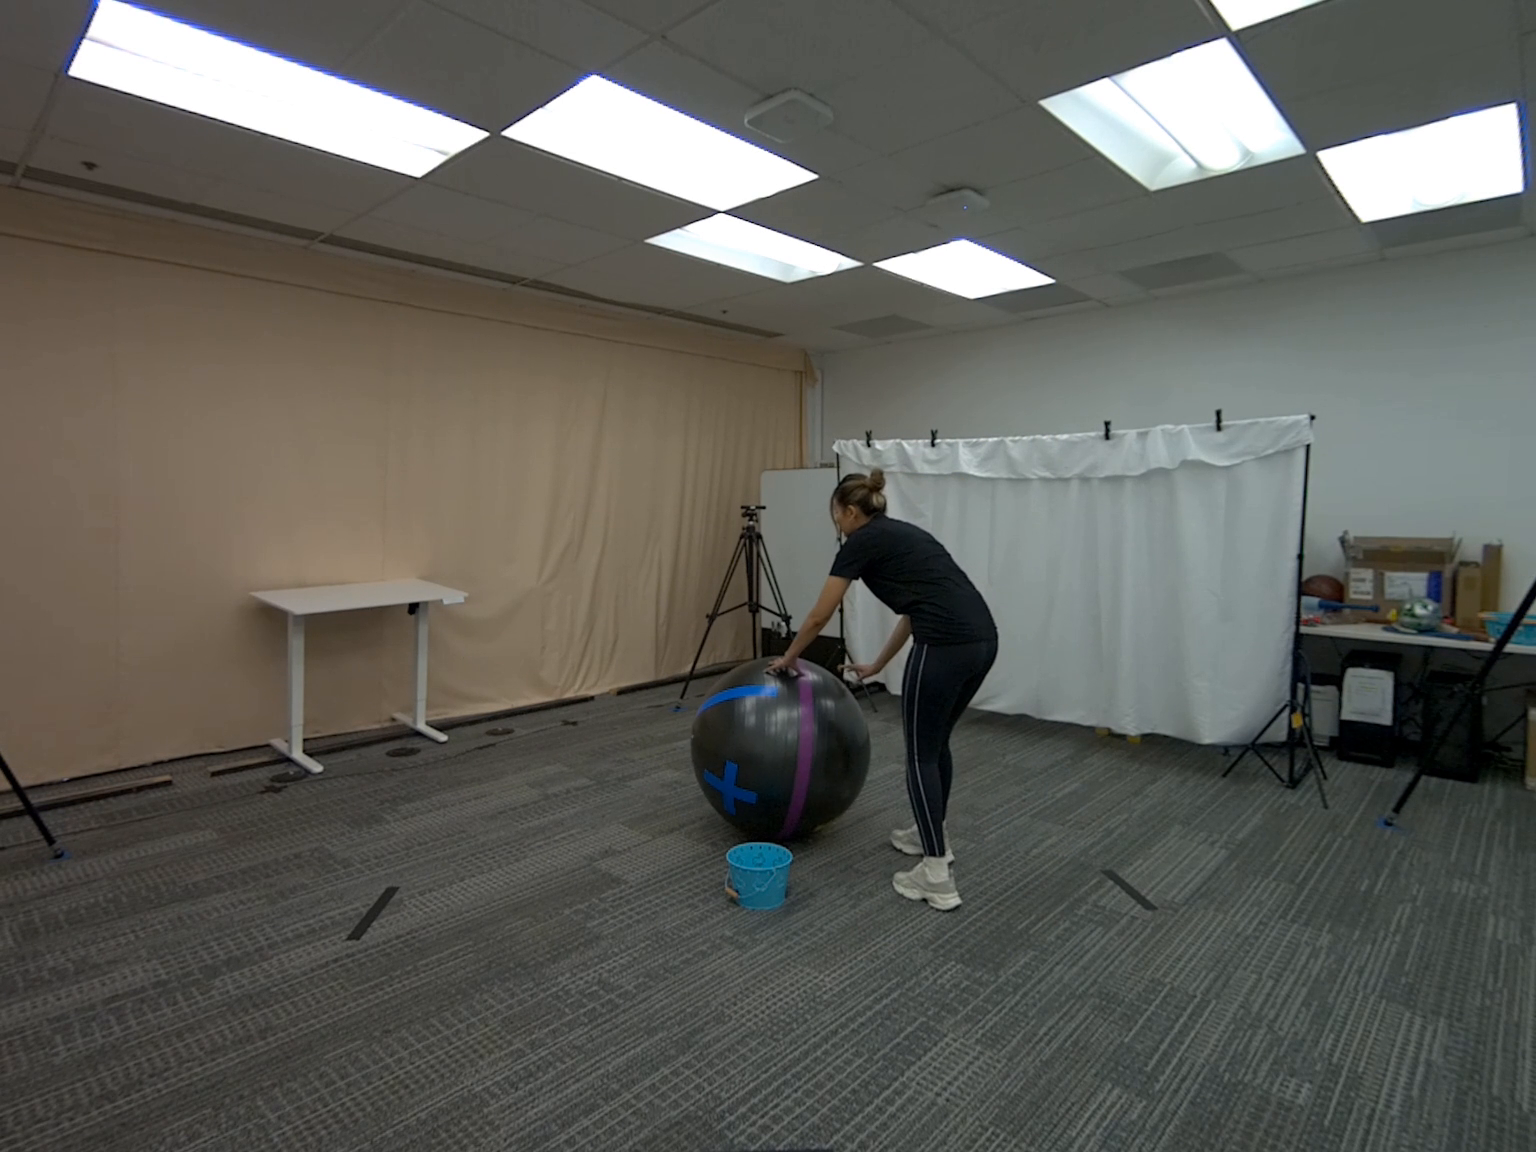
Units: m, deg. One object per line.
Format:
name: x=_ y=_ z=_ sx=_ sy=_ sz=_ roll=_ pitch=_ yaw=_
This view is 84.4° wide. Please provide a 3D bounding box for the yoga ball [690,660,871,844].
yoga ball: x=0.056 y=0.720 z=3.578 sx=0.757 sy=0.756 sz=0.760 roll=0 pitch=4 yaw=-2
